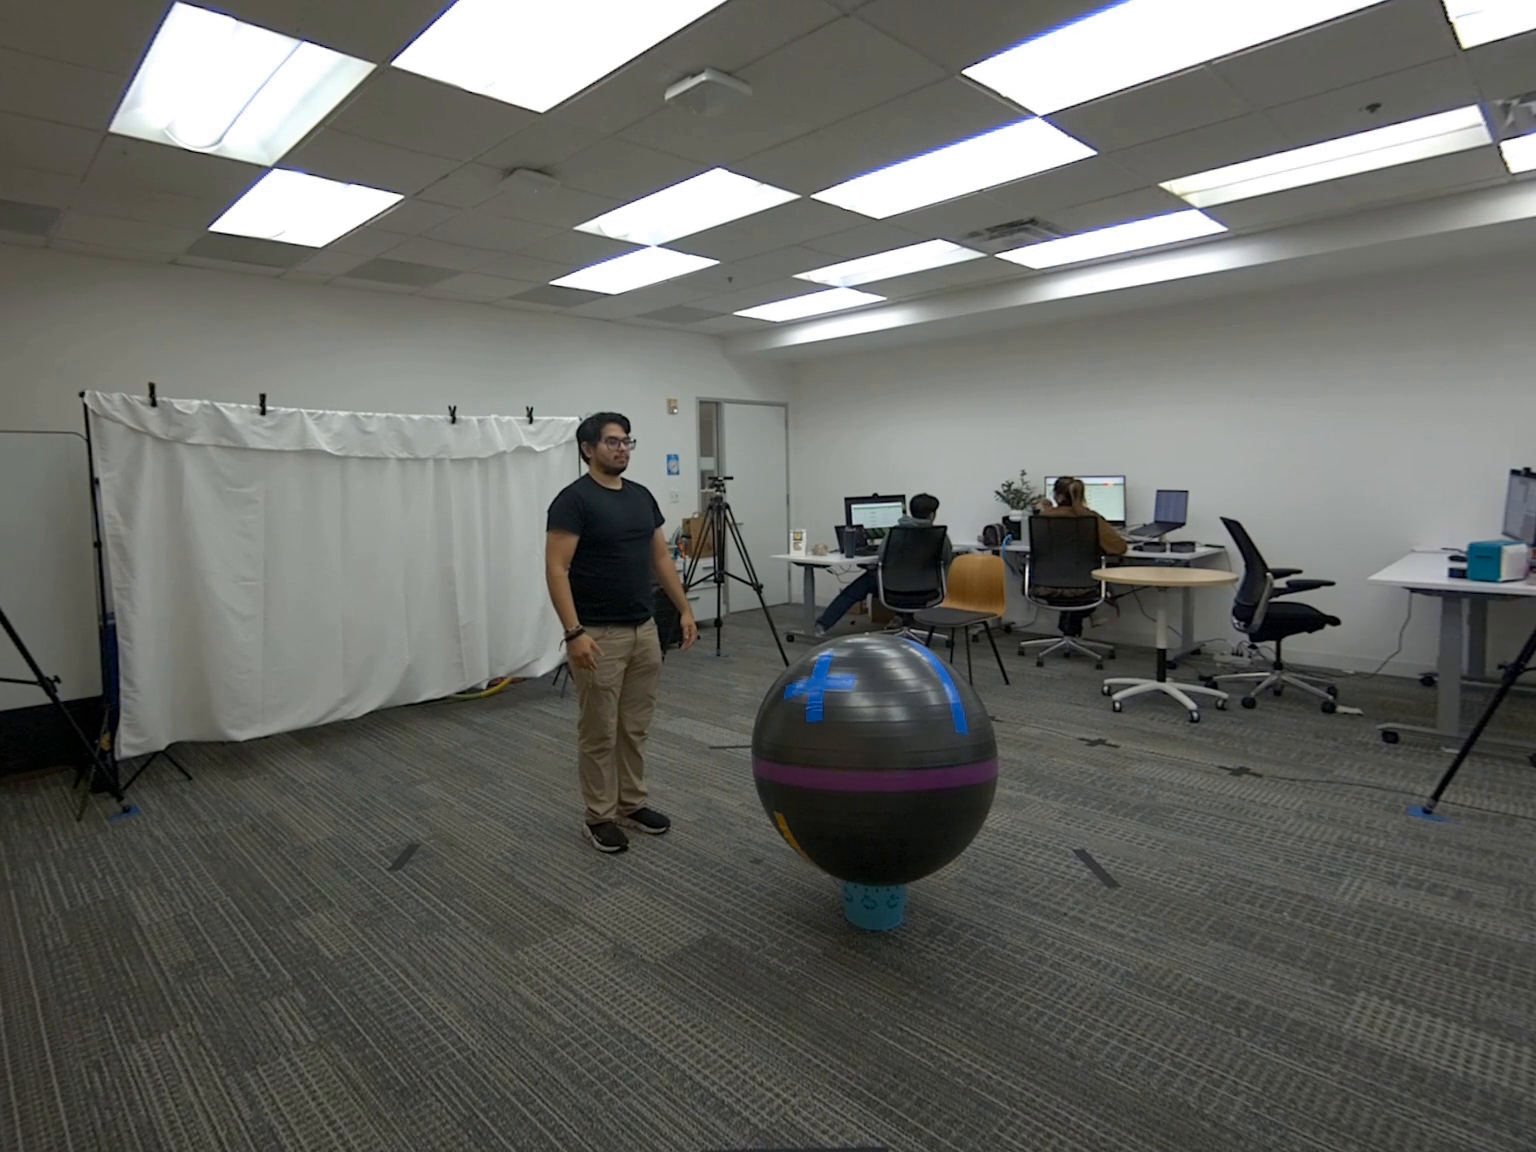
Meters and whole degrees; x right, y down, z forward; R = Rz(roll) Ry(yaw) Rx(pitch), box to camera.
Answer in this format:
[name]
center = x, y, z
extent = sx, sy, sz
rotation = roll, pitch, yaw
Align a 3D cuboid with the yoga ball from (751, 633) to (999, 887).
[yoga ball]
center = 0.333, 0.562, 2.682
extent = 0.757, 0.755, 0.762
rotation = -1, 5, -2
